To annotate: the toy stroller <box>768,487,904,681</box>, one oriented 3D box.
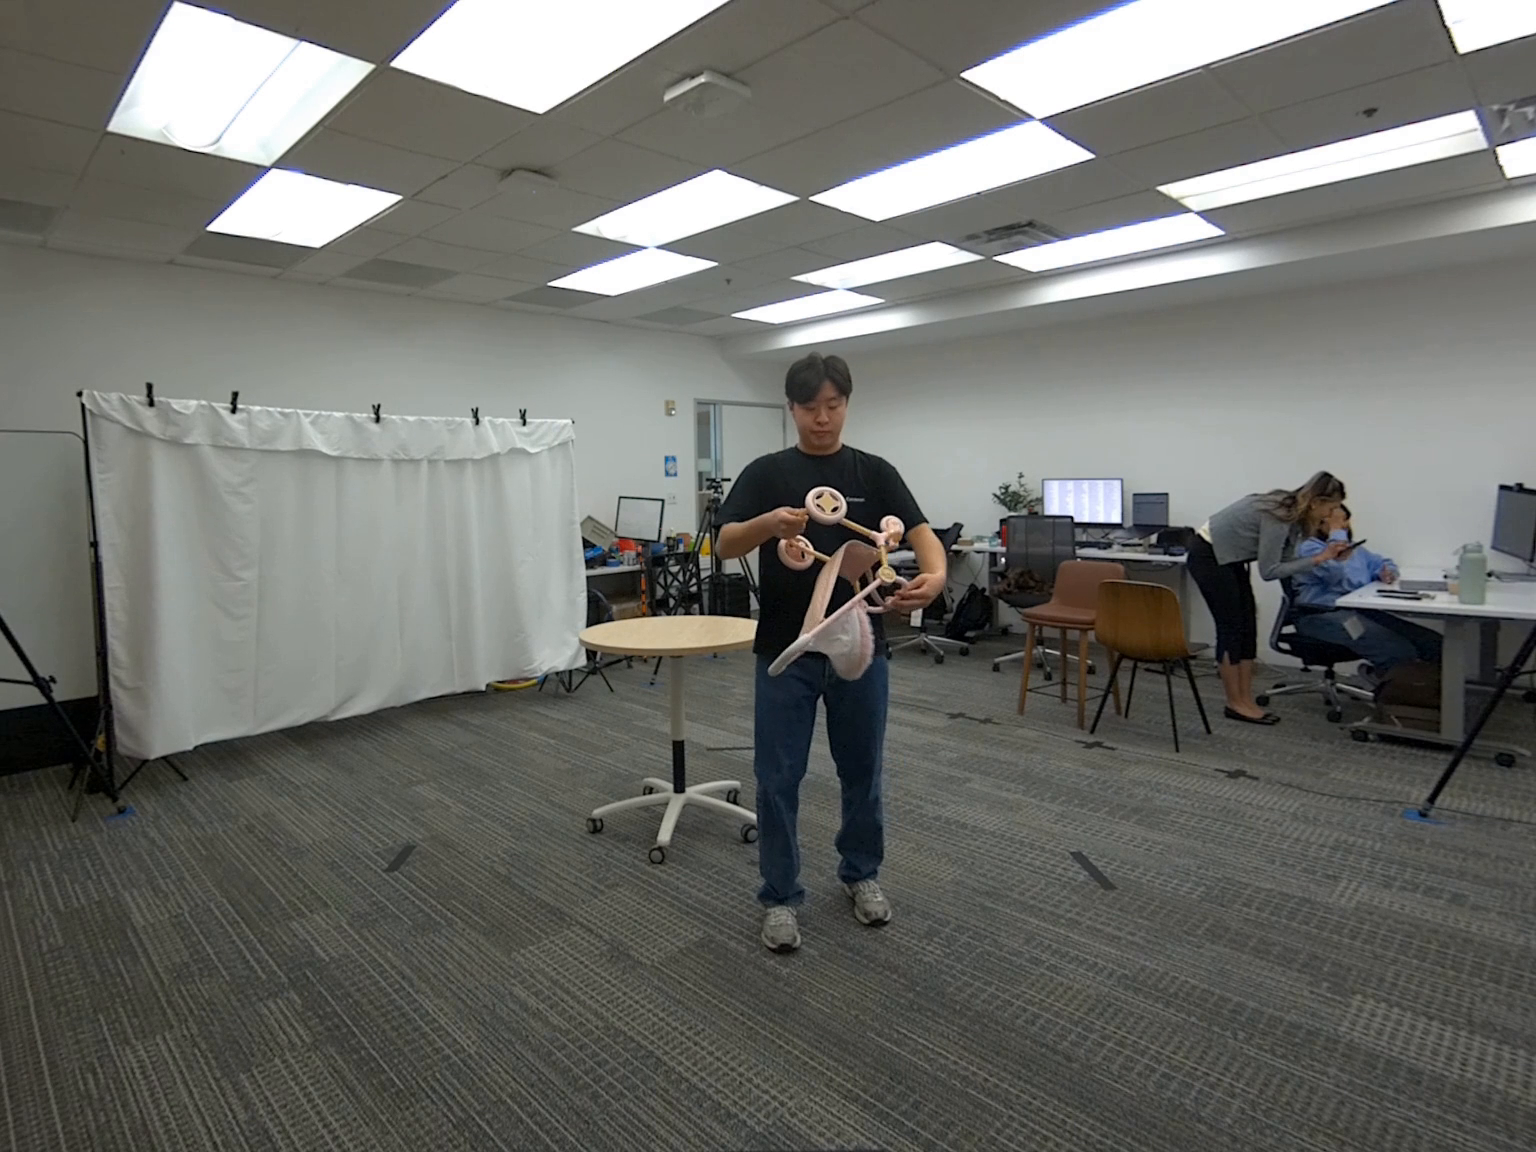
[{"bbox_3d":[0.204,0.041,2.252,0.336,0.546,0.280,15,-34,-14],"label":"toy stroller"}]
